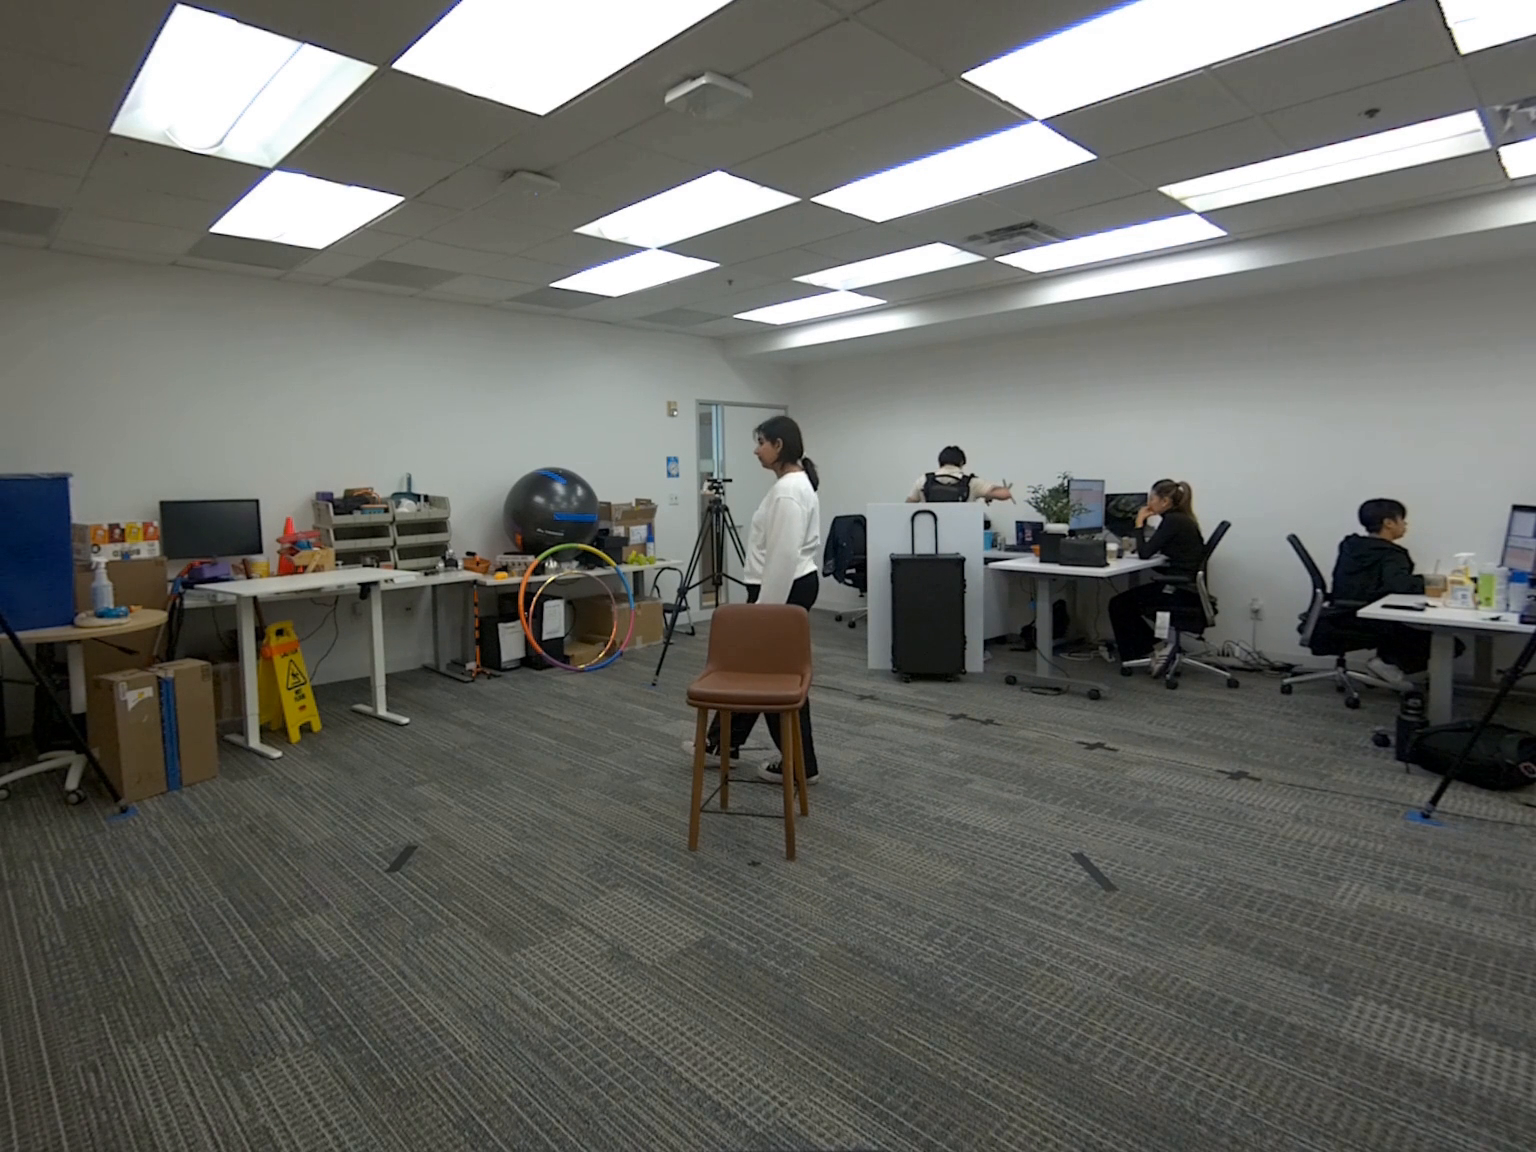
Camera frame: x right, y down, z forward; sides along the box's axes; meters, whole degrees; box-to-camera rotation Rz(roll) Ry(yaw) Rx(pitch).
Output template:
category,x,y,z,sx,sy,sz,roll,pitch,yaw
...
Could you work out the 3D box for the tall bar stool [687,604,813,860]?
category,x,y,z,sx,sy,sz,roll,pitch,yaw
tall bar stool,-0.065,0.577,3.376,0.463,0.888,0.462,0,2,14
